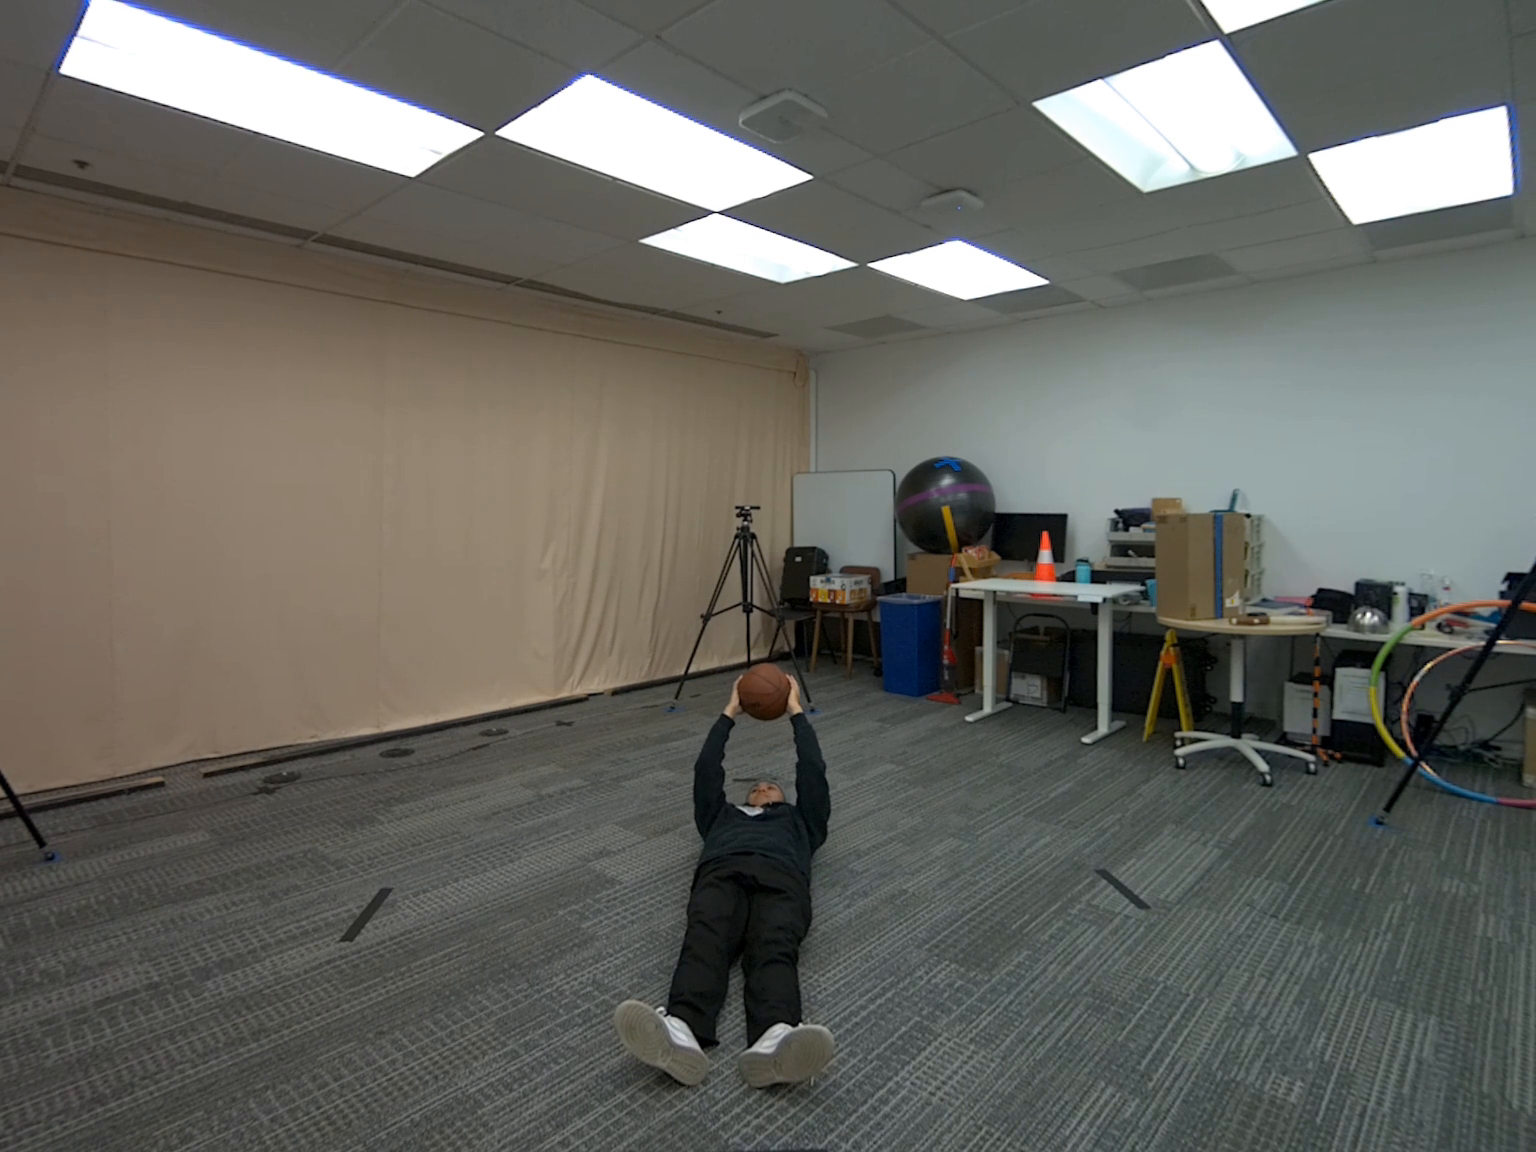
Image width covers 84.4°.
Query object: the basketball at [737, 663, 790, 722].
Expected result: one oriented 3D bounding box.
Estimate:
[{"bbox_3d":[-0.004,0.488,3.537,0.236,0.235,0.237,0,4,-2],"label":"basketball"}]
